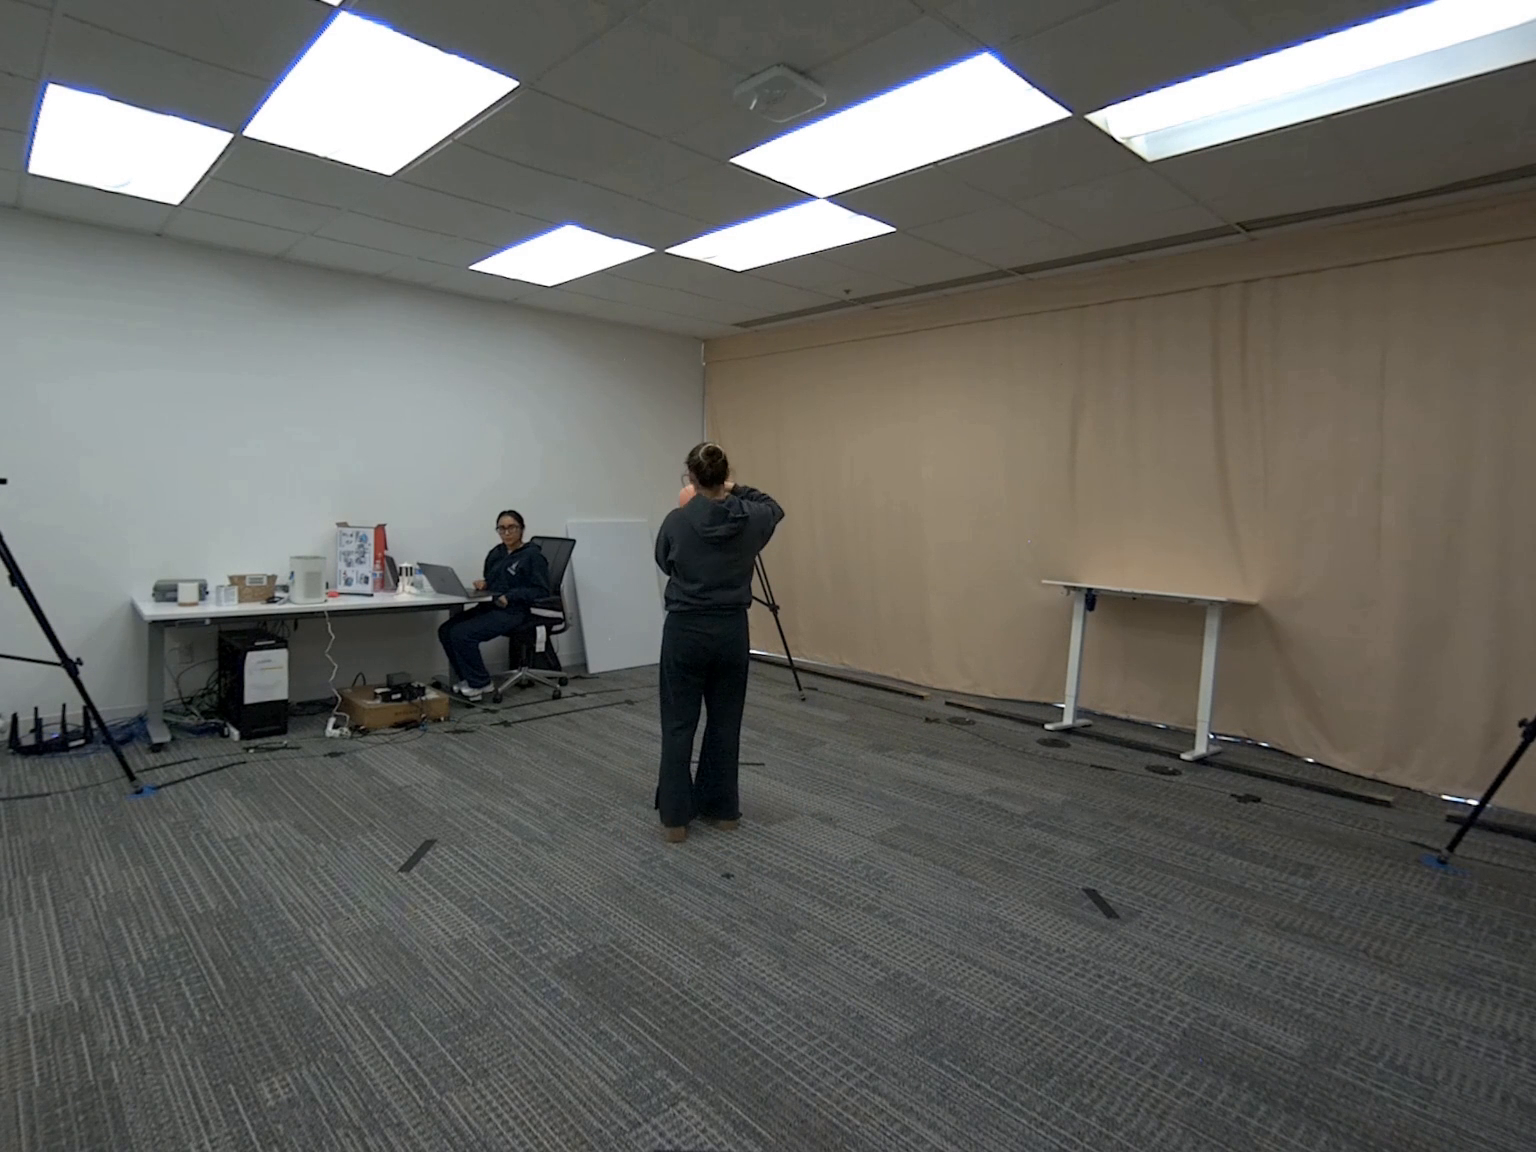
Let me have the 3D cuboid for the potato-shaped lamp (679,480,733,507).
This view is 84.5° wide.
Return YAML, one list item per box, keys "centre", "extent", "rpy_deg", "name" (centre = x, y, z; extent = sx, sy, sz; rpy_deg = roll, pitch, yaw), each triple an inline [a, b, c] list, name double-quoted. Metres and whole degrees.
- centre: [-0.304, -0.350, 3.776]
  extent: [0.197, 0.162, 0.175]
  rpy_deg: [5, 41, -6]
  name: "potato-shaped lamp"
